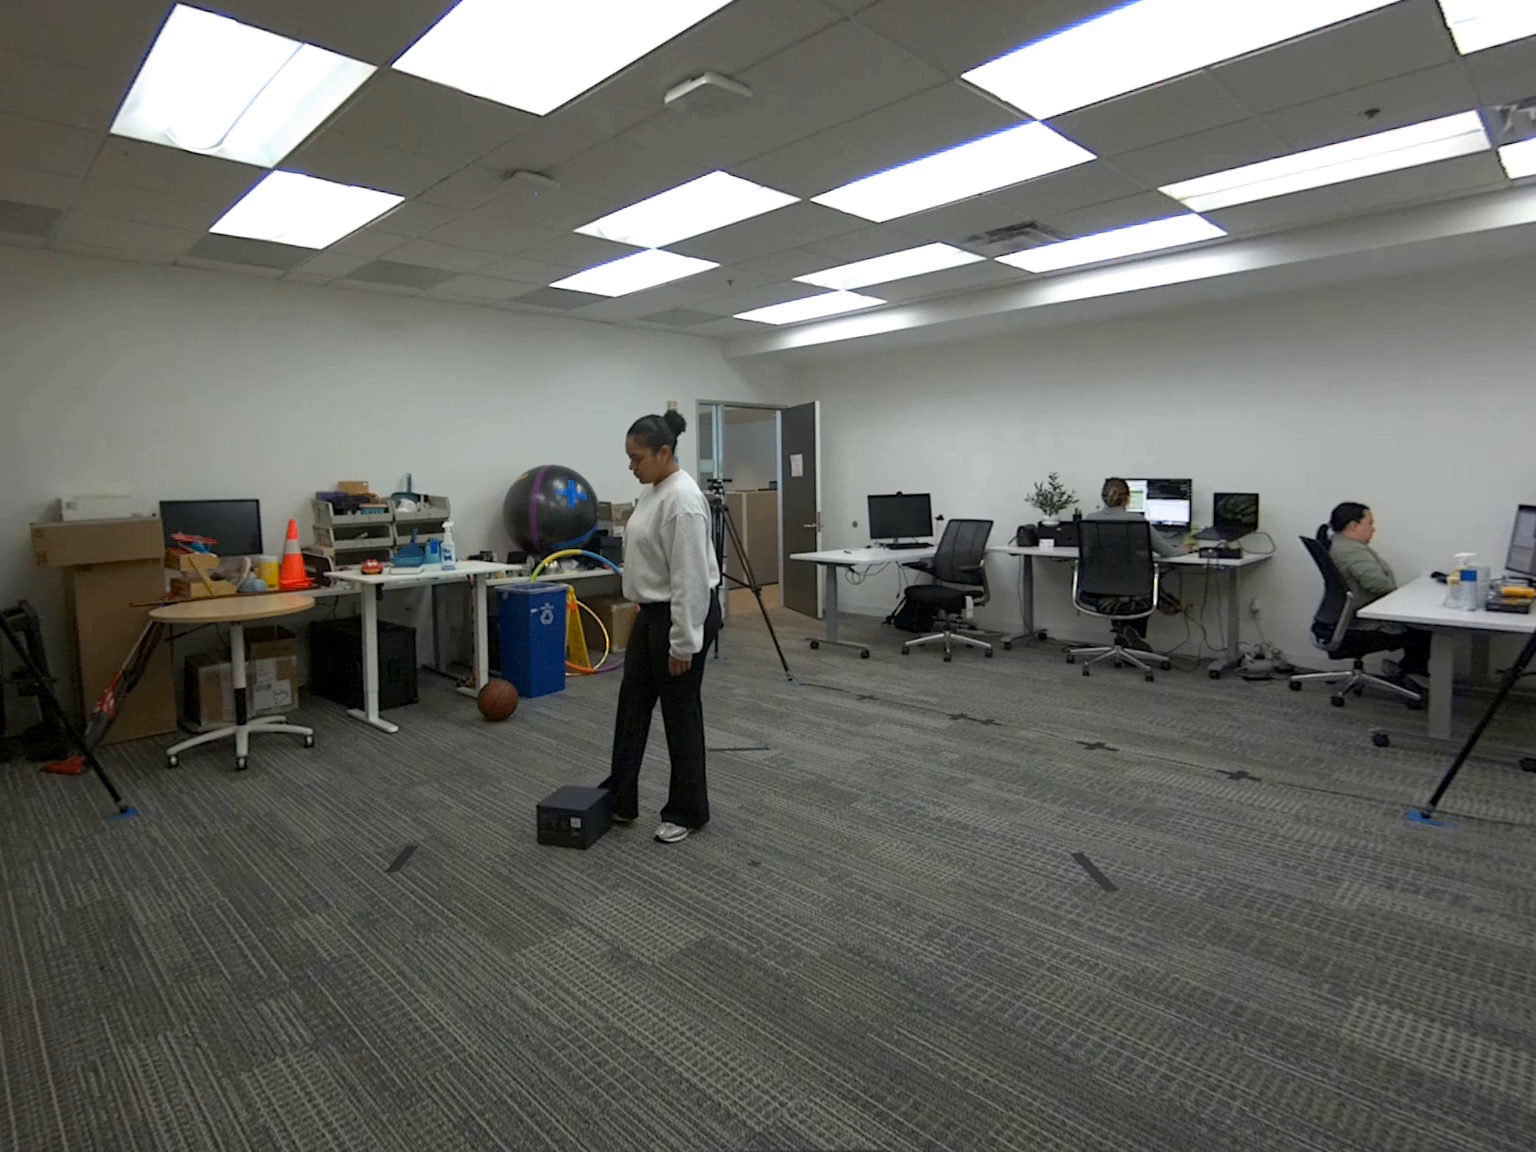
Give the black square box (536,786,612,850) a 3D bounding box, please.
[{"bbox_3d":[-0.757,0.948,3.361,0.221,0.155,0.225,1,6,17],"label":"black square box"}]
